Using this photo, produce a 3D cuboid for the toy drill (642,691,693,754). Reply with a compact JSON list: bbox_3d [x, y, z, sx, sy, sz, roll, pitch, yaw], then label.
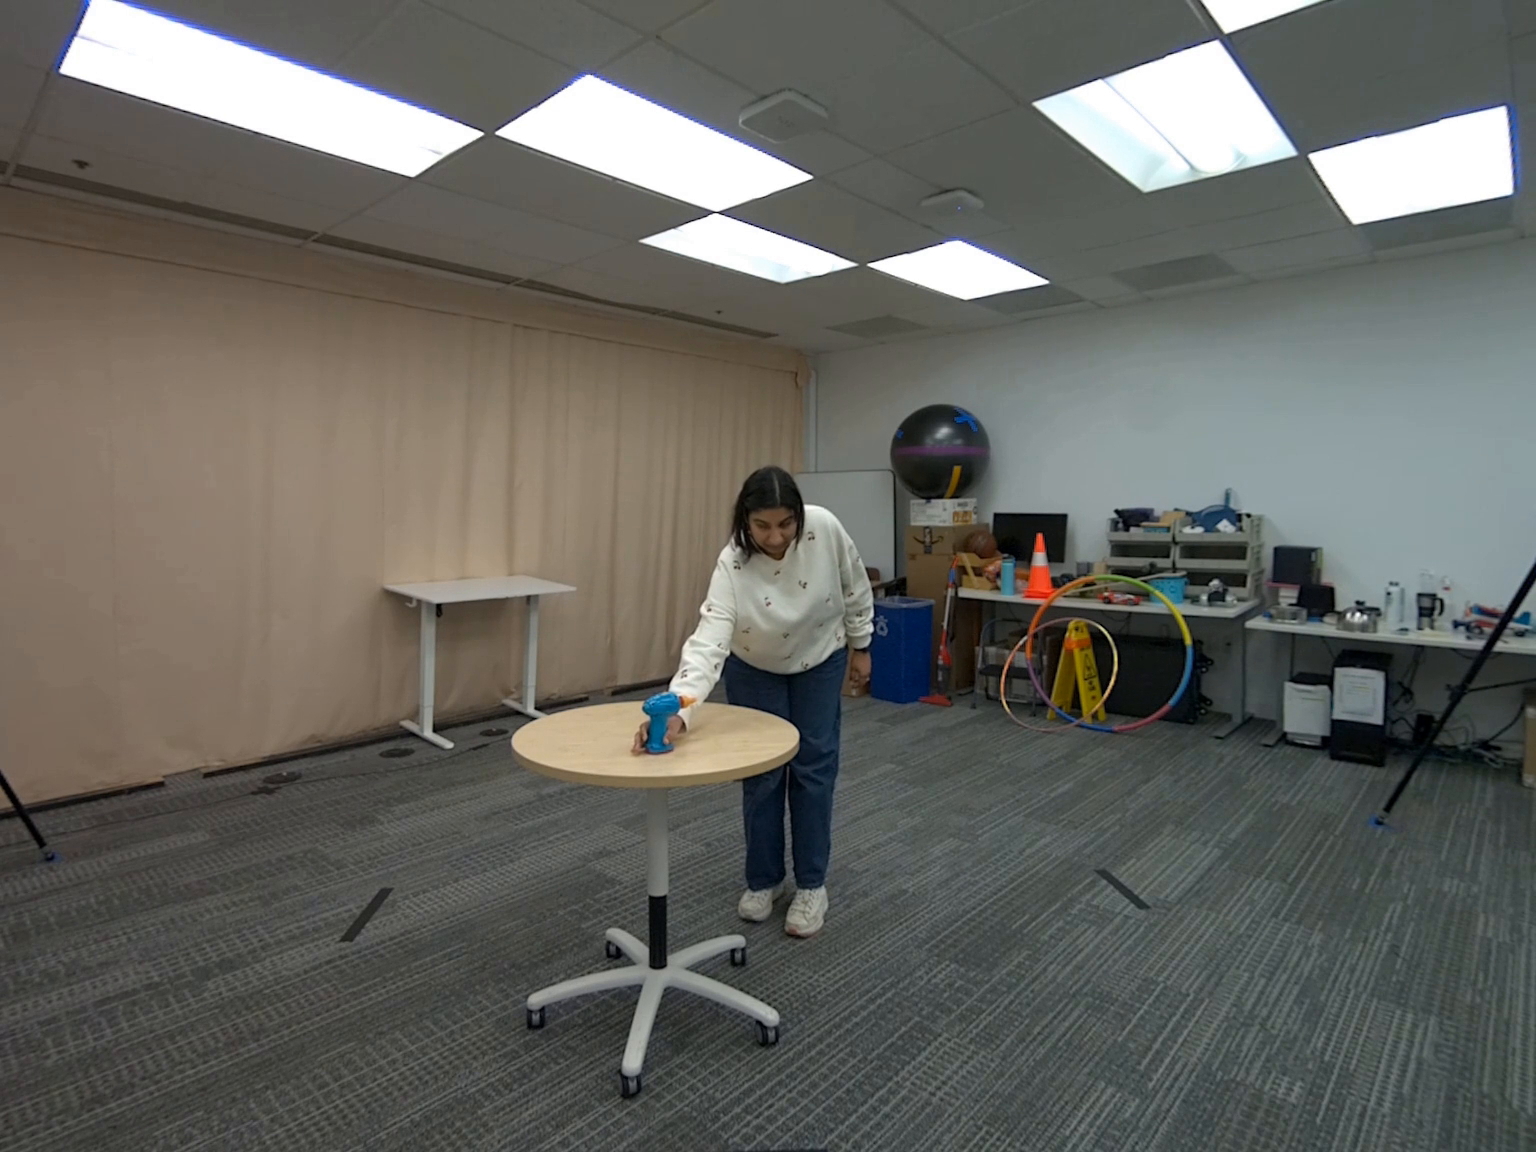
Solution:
[{"bbox_3d":[-0.245,0.363,2.105,0.063,0.145,0.166,2,8,28],"label":"toy drill"}]
